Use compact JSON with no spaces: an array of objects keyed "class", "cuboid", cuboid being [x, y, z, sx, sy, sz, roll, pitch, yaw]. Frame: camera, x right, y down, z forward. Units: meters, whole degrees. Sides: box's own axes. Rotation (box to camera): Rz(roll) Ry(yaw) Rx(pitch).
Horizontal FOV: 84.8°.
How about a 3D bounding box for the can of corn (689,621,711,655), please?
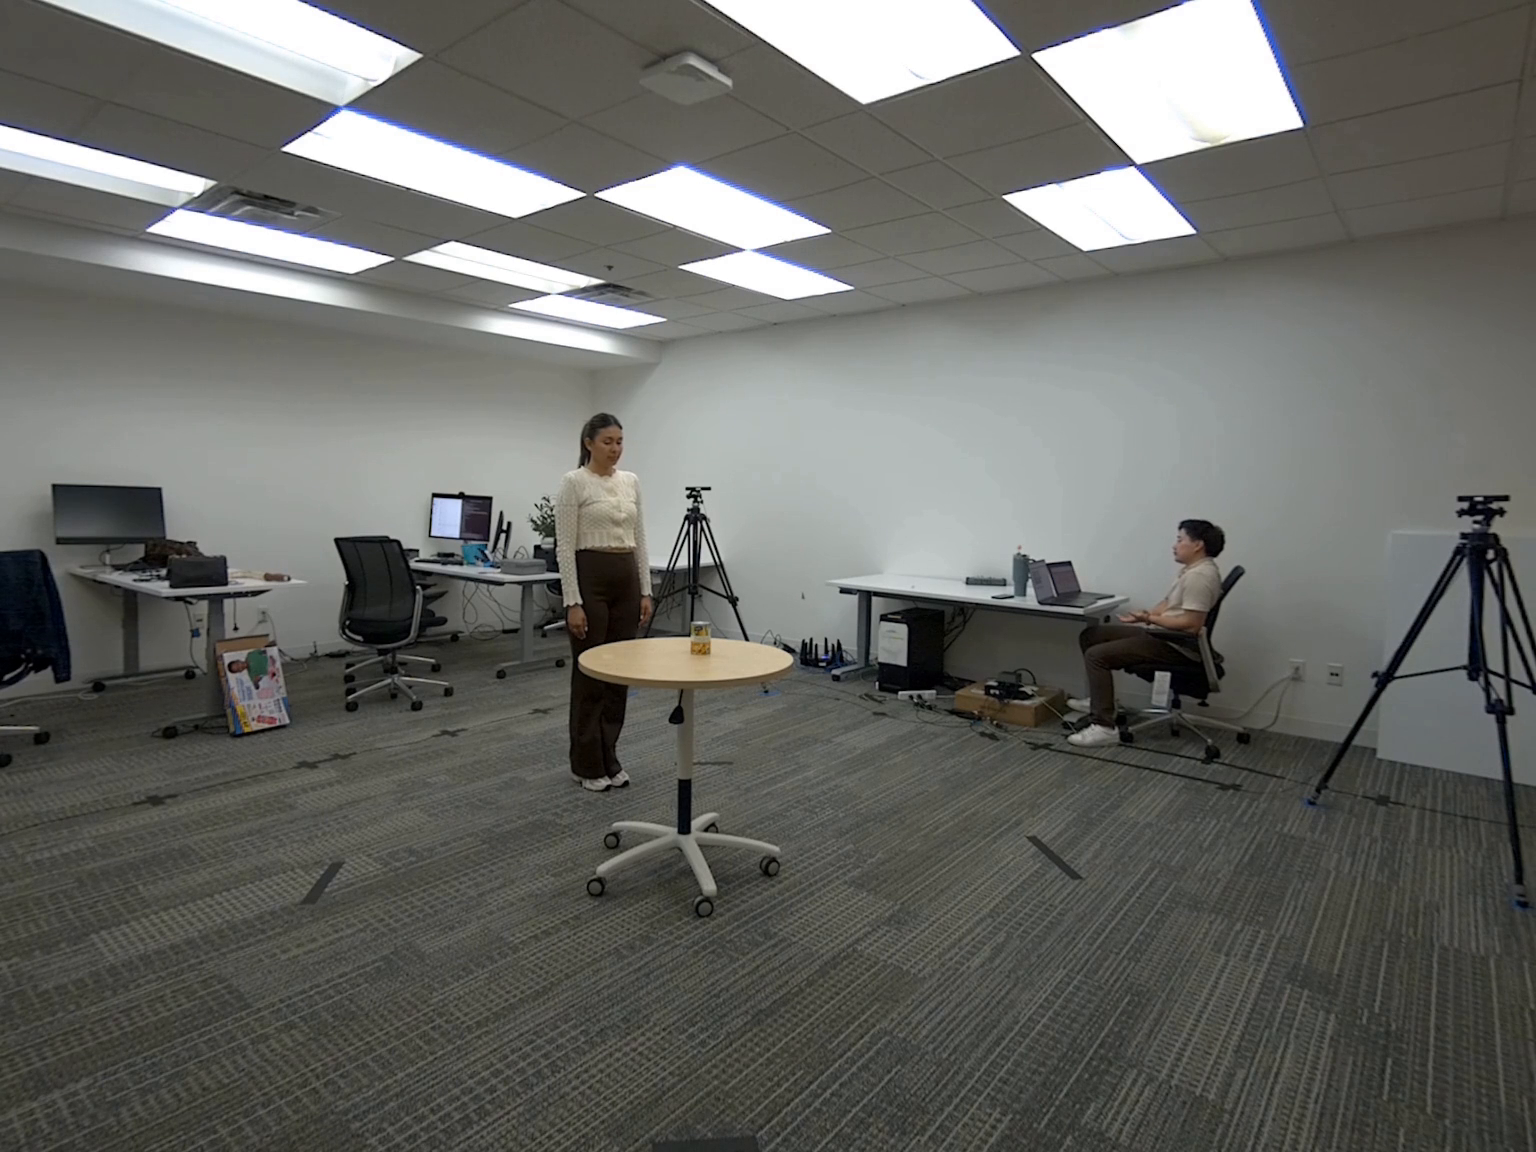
[{"class":"can of corn","cuboid":[-0.260,0.225,3.113,0.074,0.111,0.074,2,2,-2]}]
